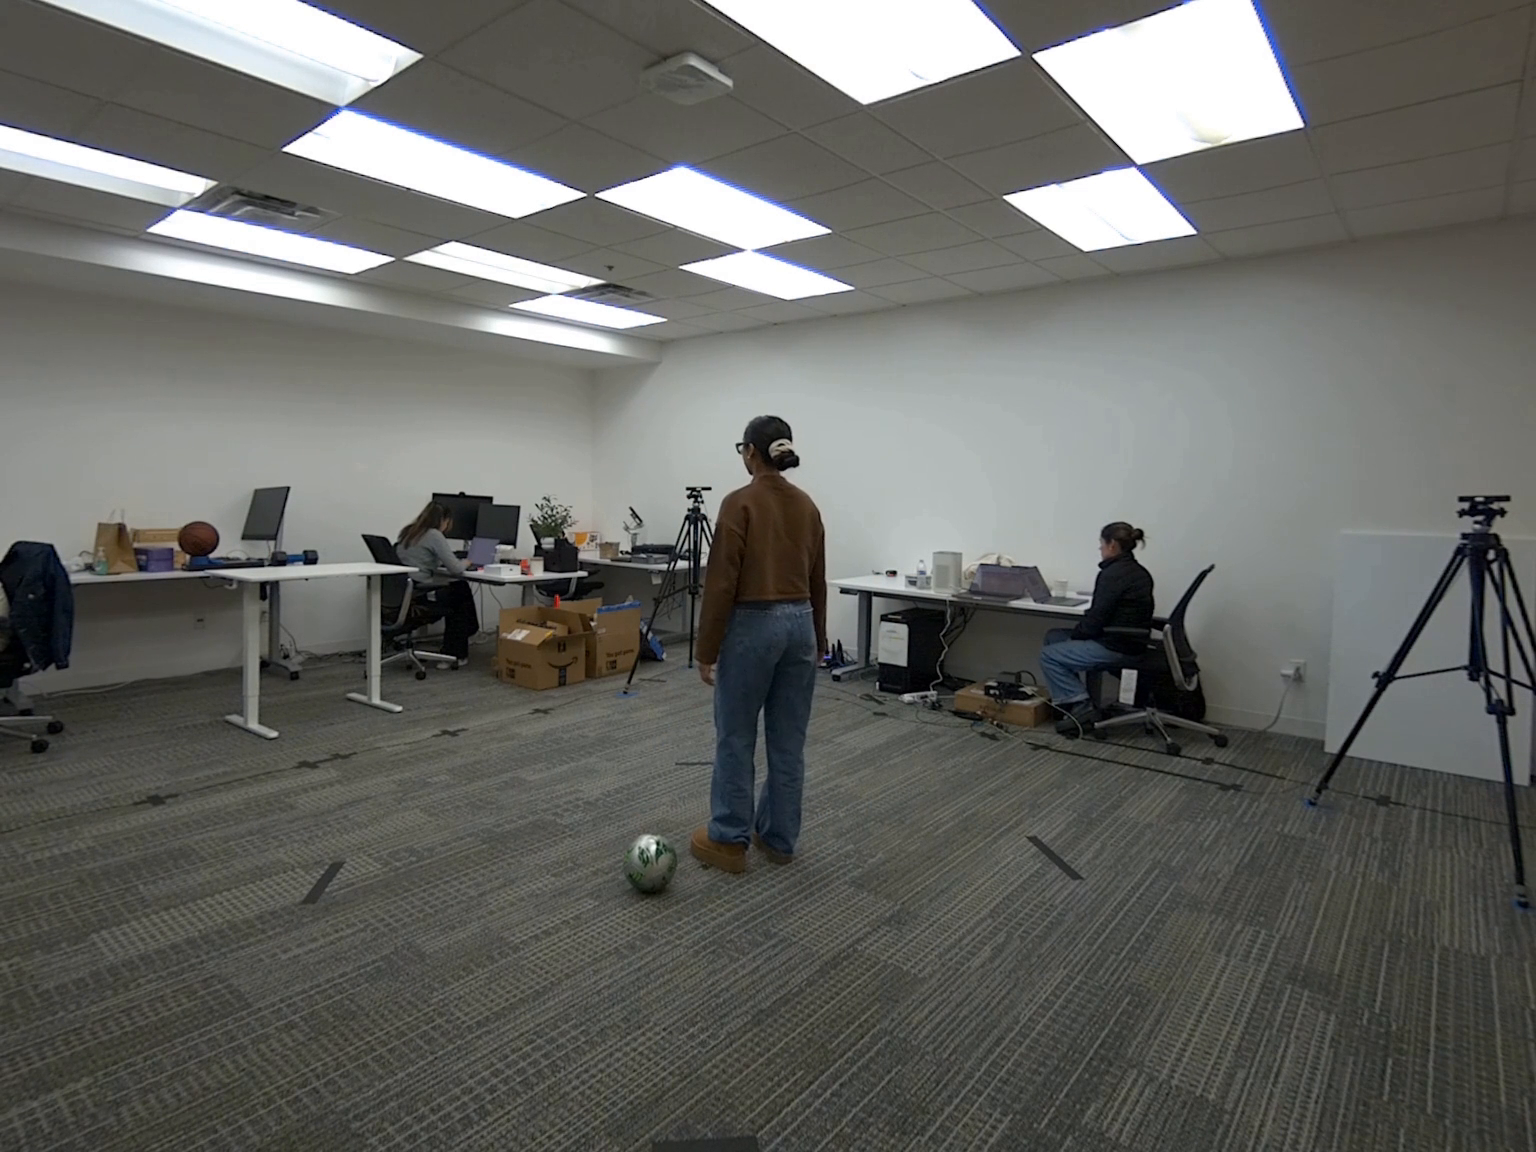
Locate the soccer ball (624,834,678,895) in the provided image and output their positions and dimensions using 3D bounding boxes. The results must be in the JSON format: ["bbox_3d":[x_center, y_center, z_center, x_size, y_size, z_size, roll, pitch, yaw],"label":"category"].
[{"bbox_3d":[-0.415,0.981,2.932,0.187,0.187,0.188,1,4,-2],"label":"soccer ball"}]
